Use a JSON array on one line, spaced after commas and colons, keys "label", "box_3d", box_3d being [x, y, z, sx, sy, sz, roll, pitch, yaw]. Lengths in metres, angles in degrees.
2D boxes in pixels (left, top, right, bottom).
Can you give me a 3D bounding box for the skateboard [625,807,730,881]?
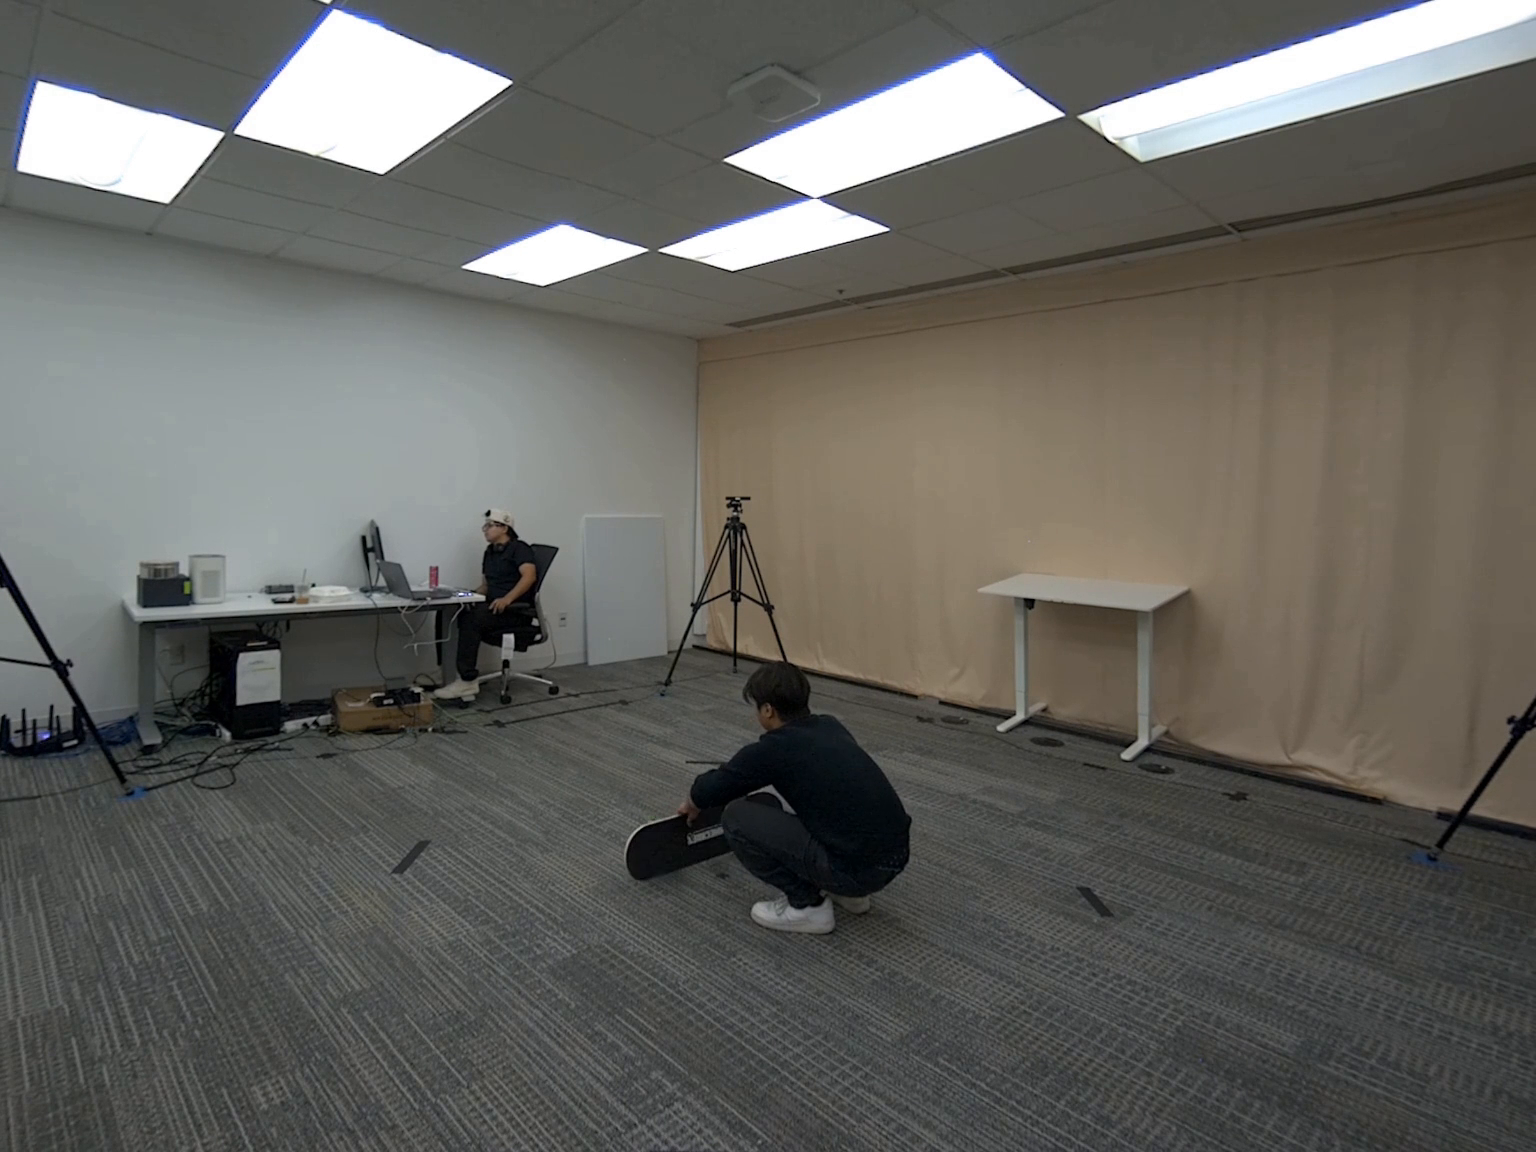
[{"label": "skateboard", "box_3d": [-0.253, 0.983, 3.240, 0.768, 0.194, 0.112, -4, -6, -42]}]
